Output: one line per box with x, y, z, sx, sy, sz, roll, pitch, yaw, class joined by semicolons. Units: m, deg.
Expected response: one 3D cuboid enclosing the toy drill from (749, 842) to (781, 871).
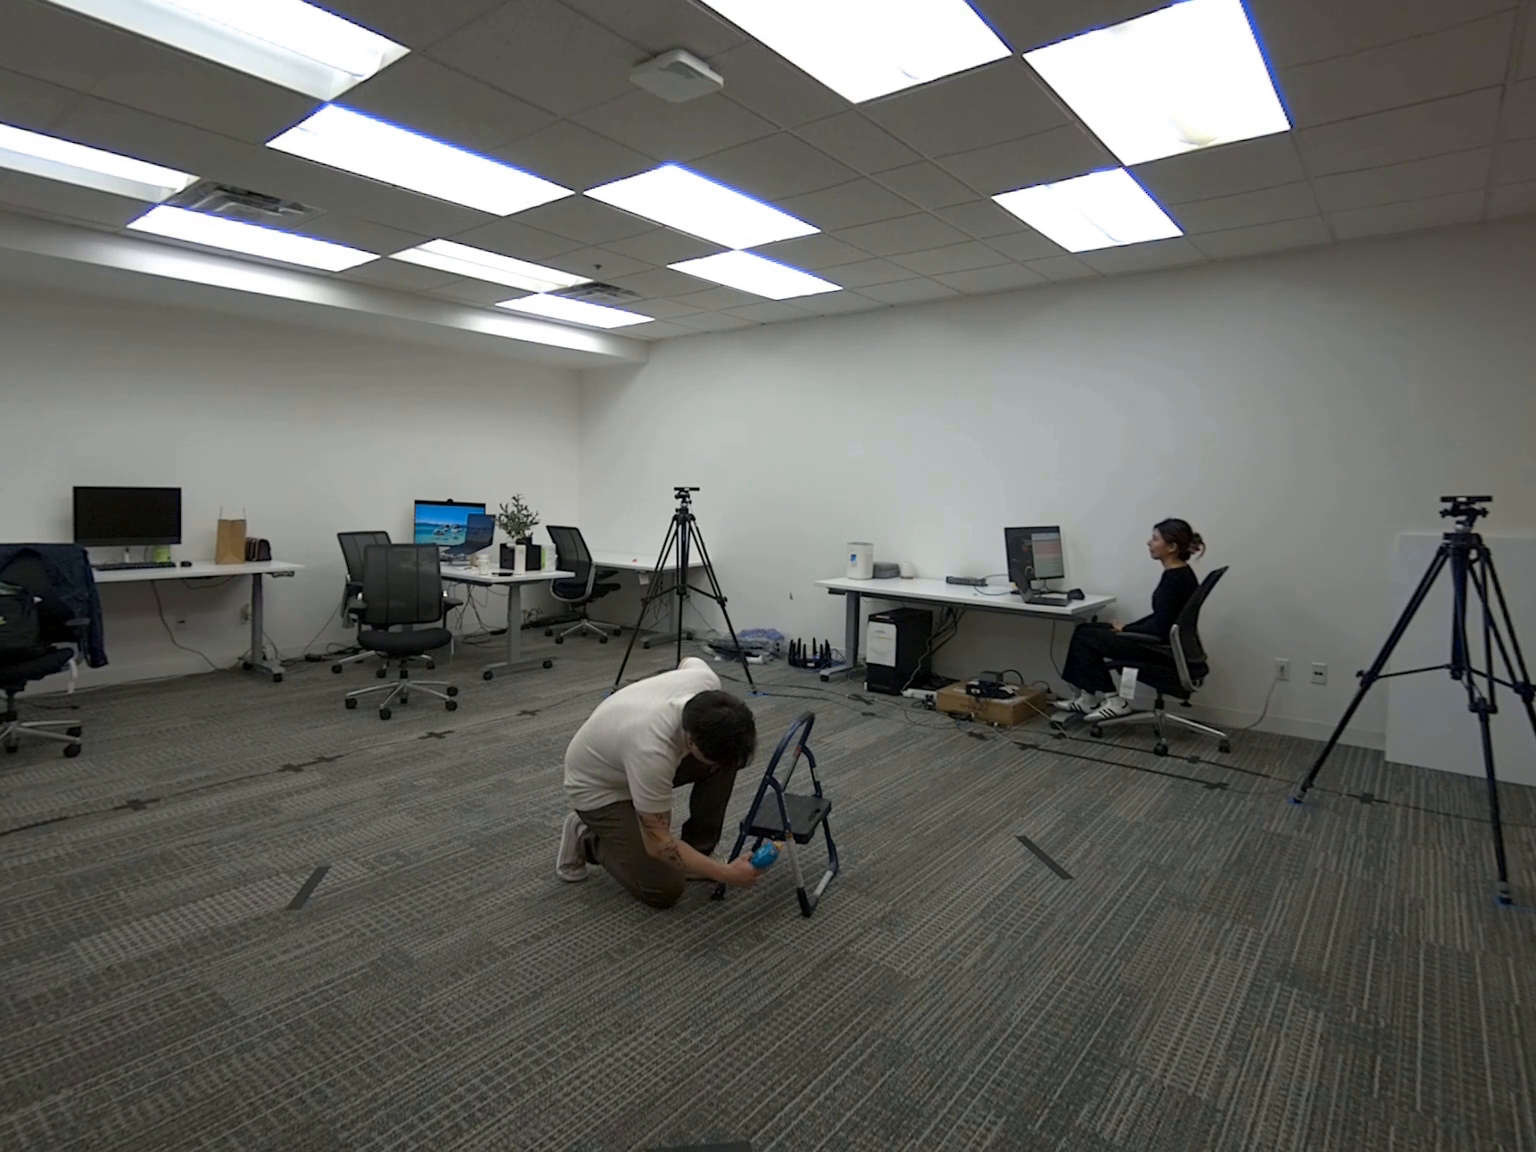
-0.039;0.881;2.653;0.147;0.062;0.165;-35;-14;27;toy drill
